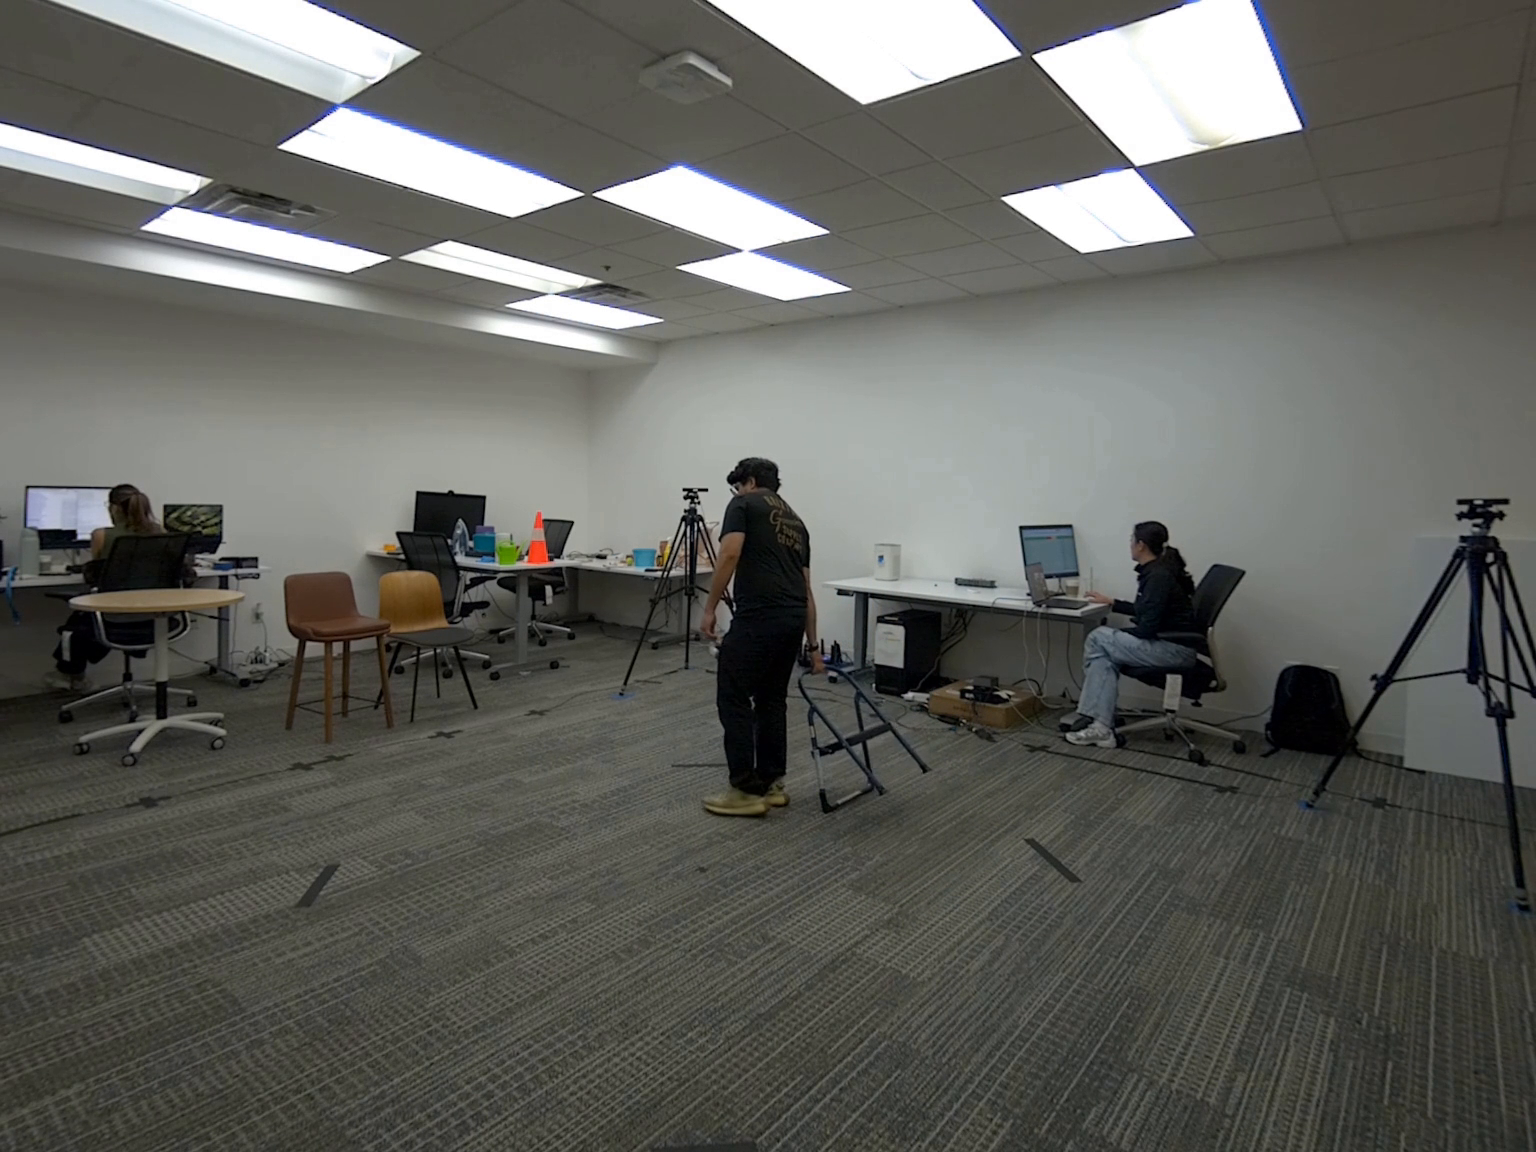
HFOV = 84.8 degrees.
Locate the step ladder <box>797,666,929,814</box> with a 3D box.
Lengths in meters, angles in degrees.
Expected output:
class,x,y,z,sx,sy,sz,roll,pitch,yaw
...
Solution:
class,x,y,z,sx,sy,sz,roll,pitch,yaw
step ladder,0.366,0.675,3.822,0.353,0.618,0.418,-33,-18,35
